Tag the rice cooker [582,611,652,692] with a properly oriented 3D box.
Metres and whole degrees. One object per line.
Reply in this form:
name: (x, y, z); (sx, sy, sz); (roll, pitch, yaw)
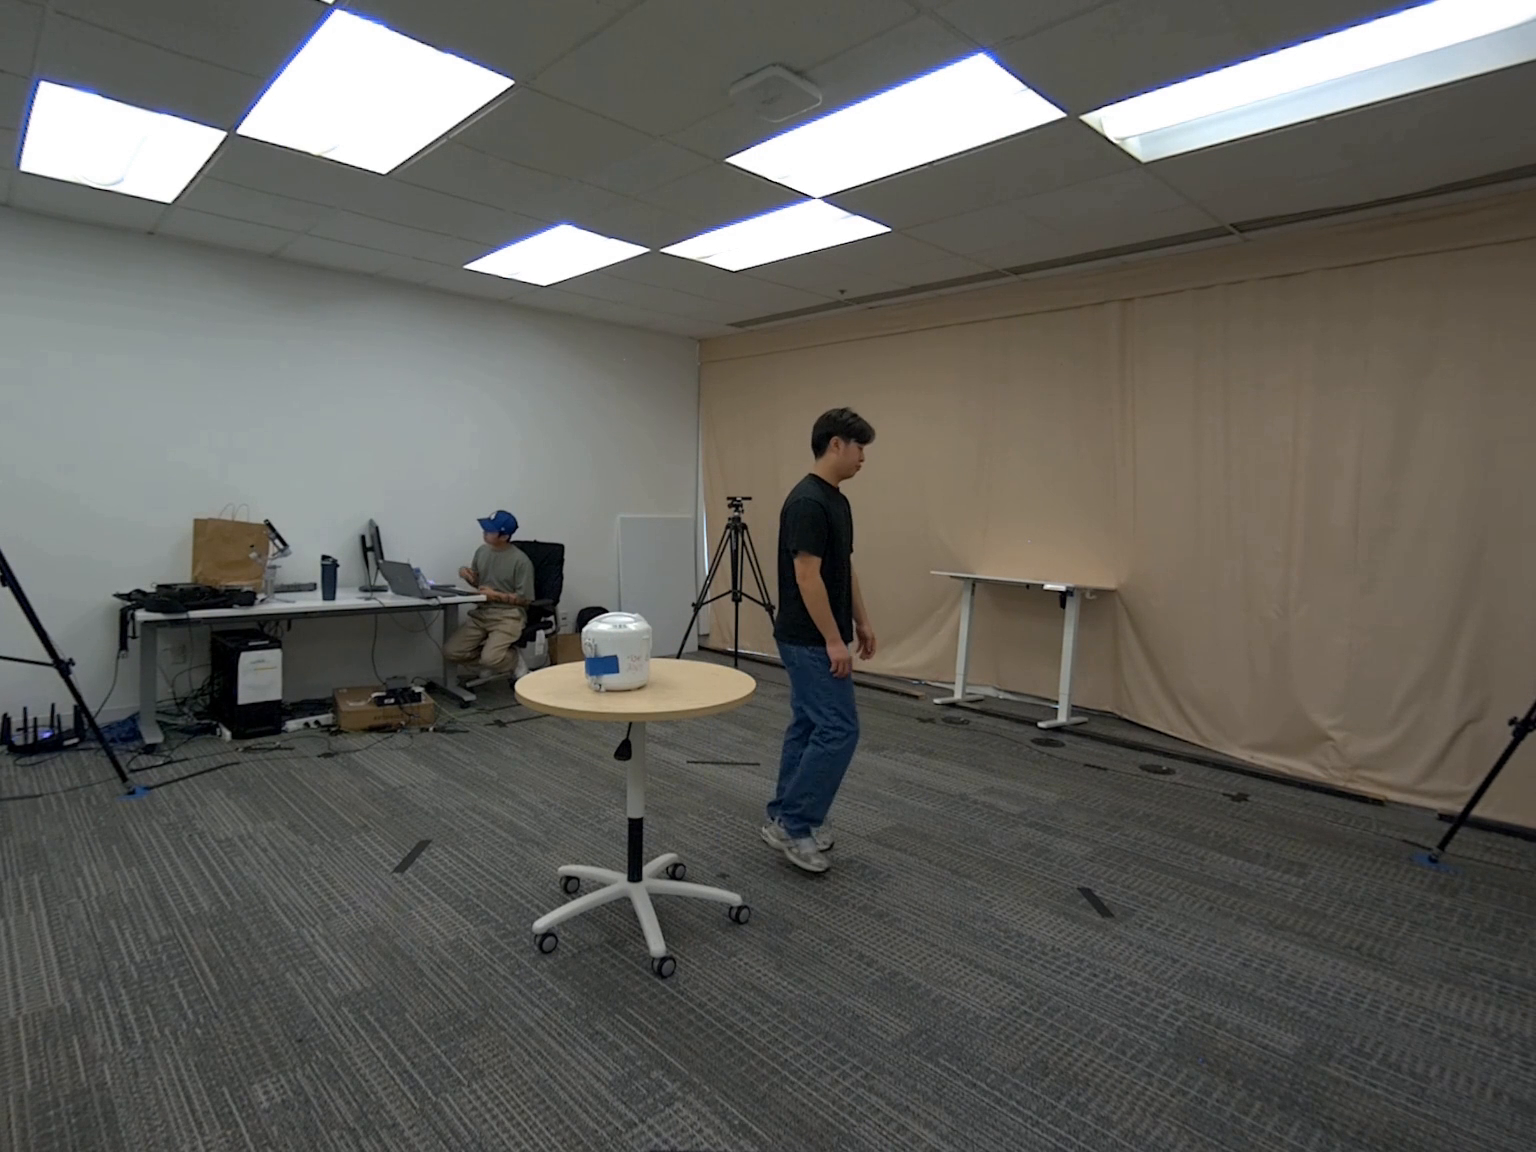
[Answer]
rice cooker: (-0.478, 0.230, 2.647); (0.218, 0.232, 0.220); (1, 4, -12)
